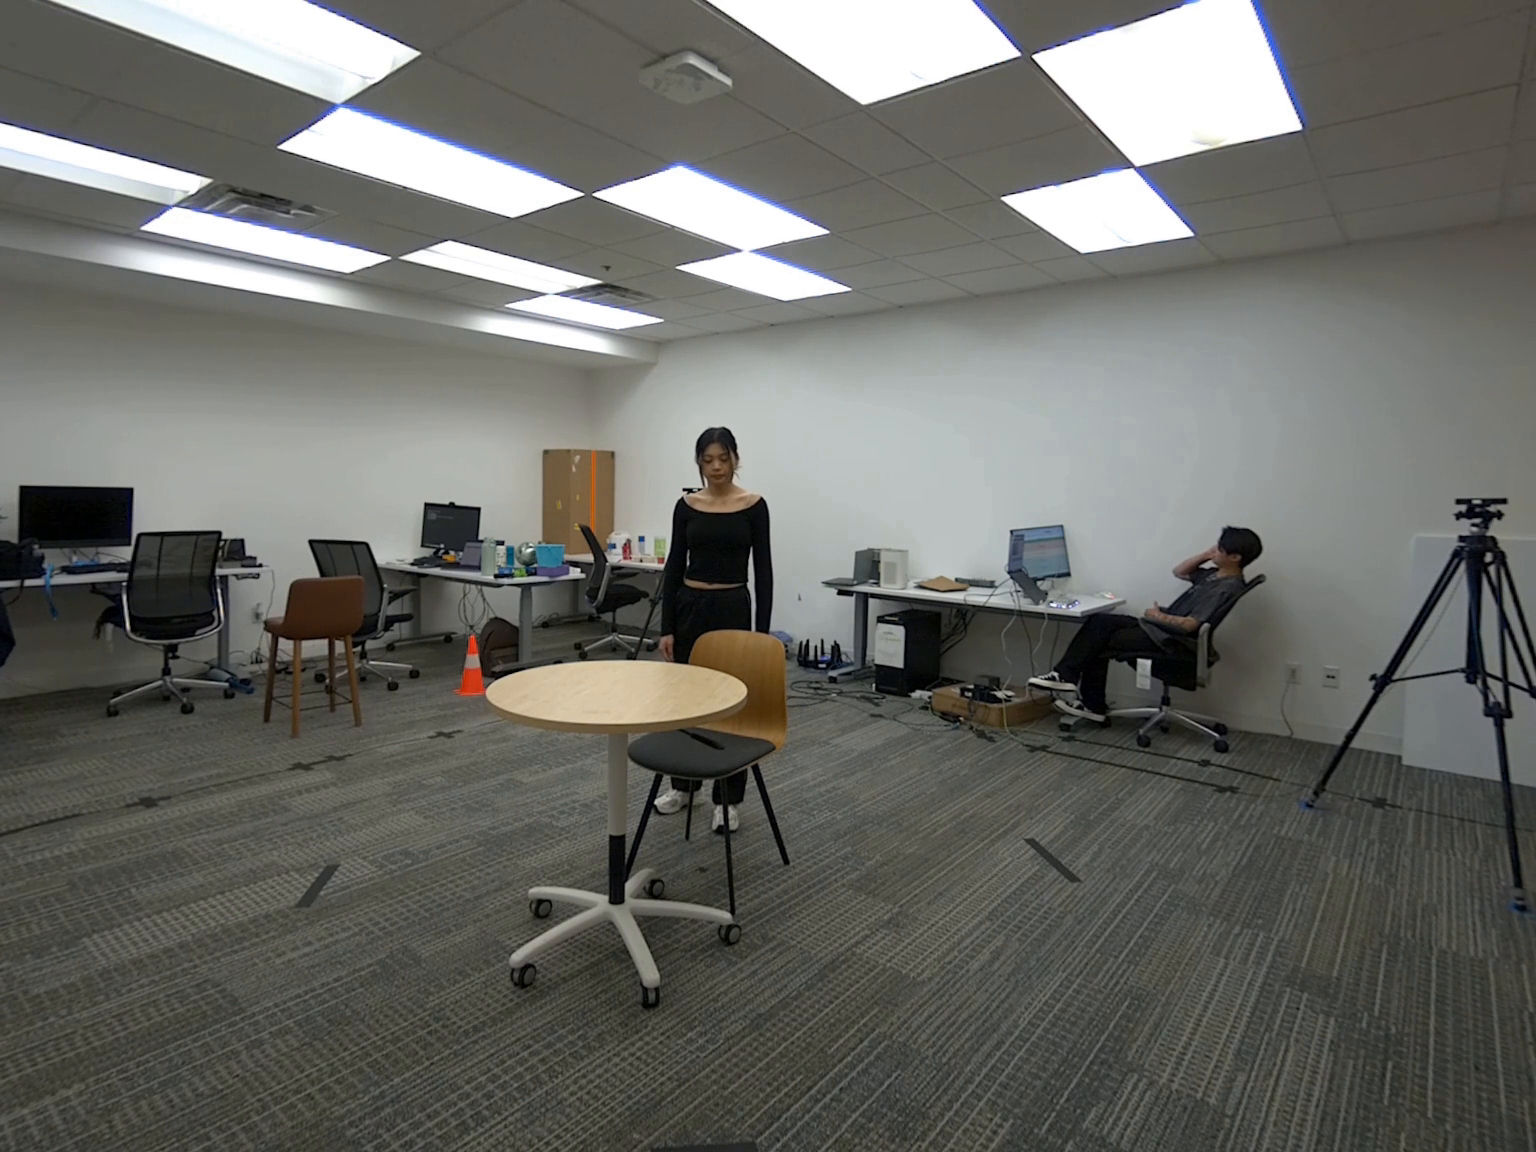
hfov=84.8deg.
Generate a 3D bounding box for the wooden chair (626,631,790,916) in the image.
[{"bbox_3d":[-0.218,0.646,3.044,0.491,0.878,0.508,3,0,27],"label":"wooden chair"}]
